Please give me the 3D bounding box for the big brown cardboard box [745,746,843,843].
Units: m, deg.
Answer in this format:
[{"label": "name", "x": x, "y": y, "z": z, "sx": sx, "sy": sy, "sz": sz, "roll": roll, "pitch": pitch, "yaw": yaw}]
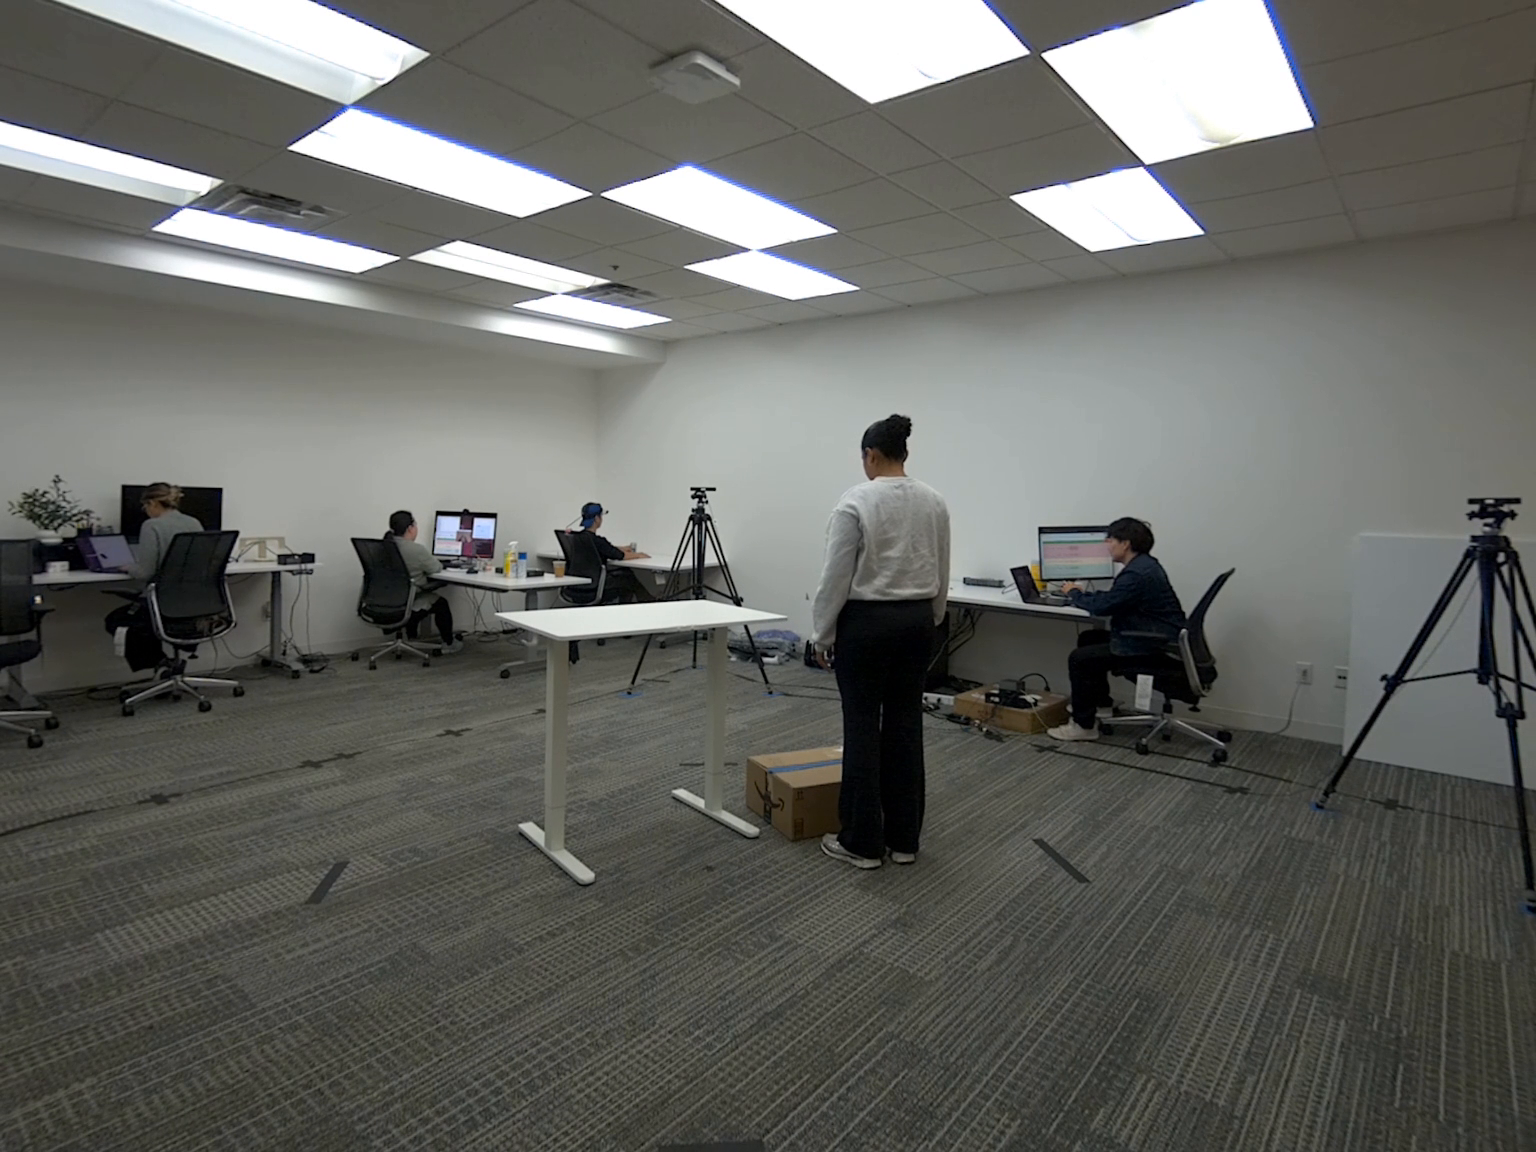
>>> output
[{"label": "big brown cardboard box", "x": 0.240, "y": 0.910, "z": 3.665, "sx": 0.575, "sy": 0.232, "sz": 0.430, "roll": -2, "pitch": 6, "yaw": -27}]
